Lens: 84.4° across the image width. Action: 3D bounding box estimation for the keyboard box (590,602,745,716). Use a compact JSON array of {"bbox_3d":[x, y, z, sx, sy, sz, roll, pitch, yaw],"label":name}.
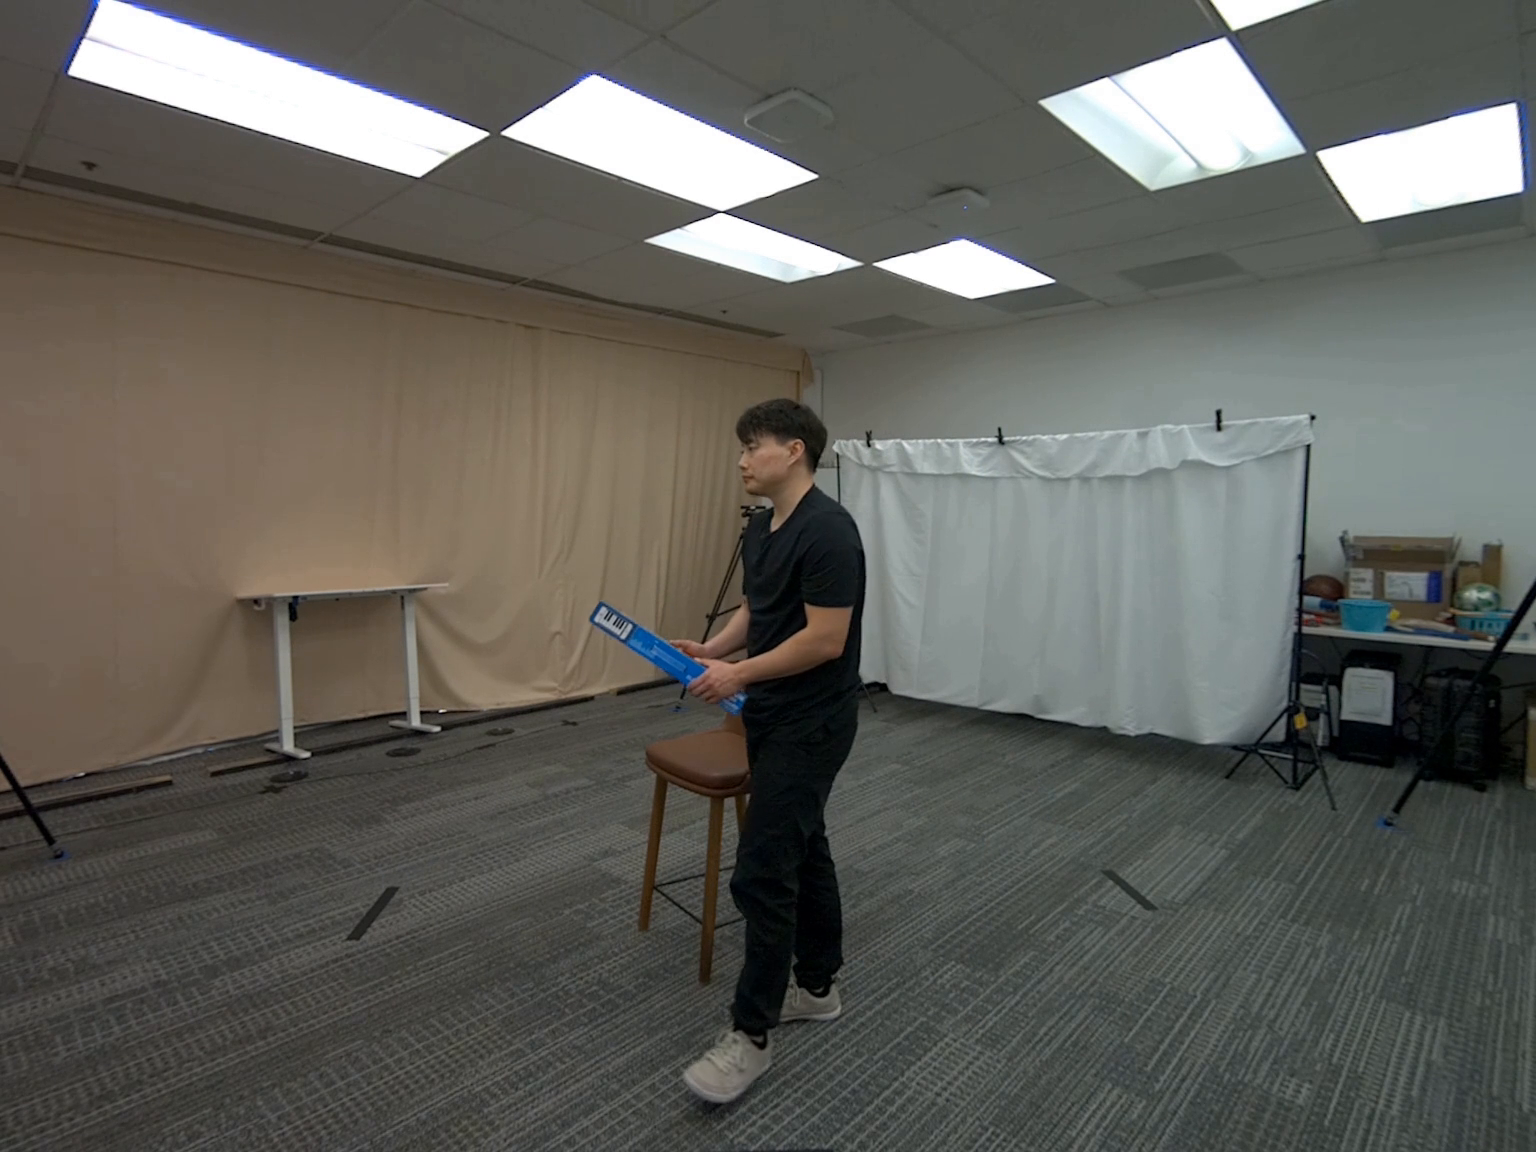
[{"bbox_3d":[-0.258,0.205,2.155,0.435,0.059,0.177,34,-6,-4],"label":"keyboard box"}]
